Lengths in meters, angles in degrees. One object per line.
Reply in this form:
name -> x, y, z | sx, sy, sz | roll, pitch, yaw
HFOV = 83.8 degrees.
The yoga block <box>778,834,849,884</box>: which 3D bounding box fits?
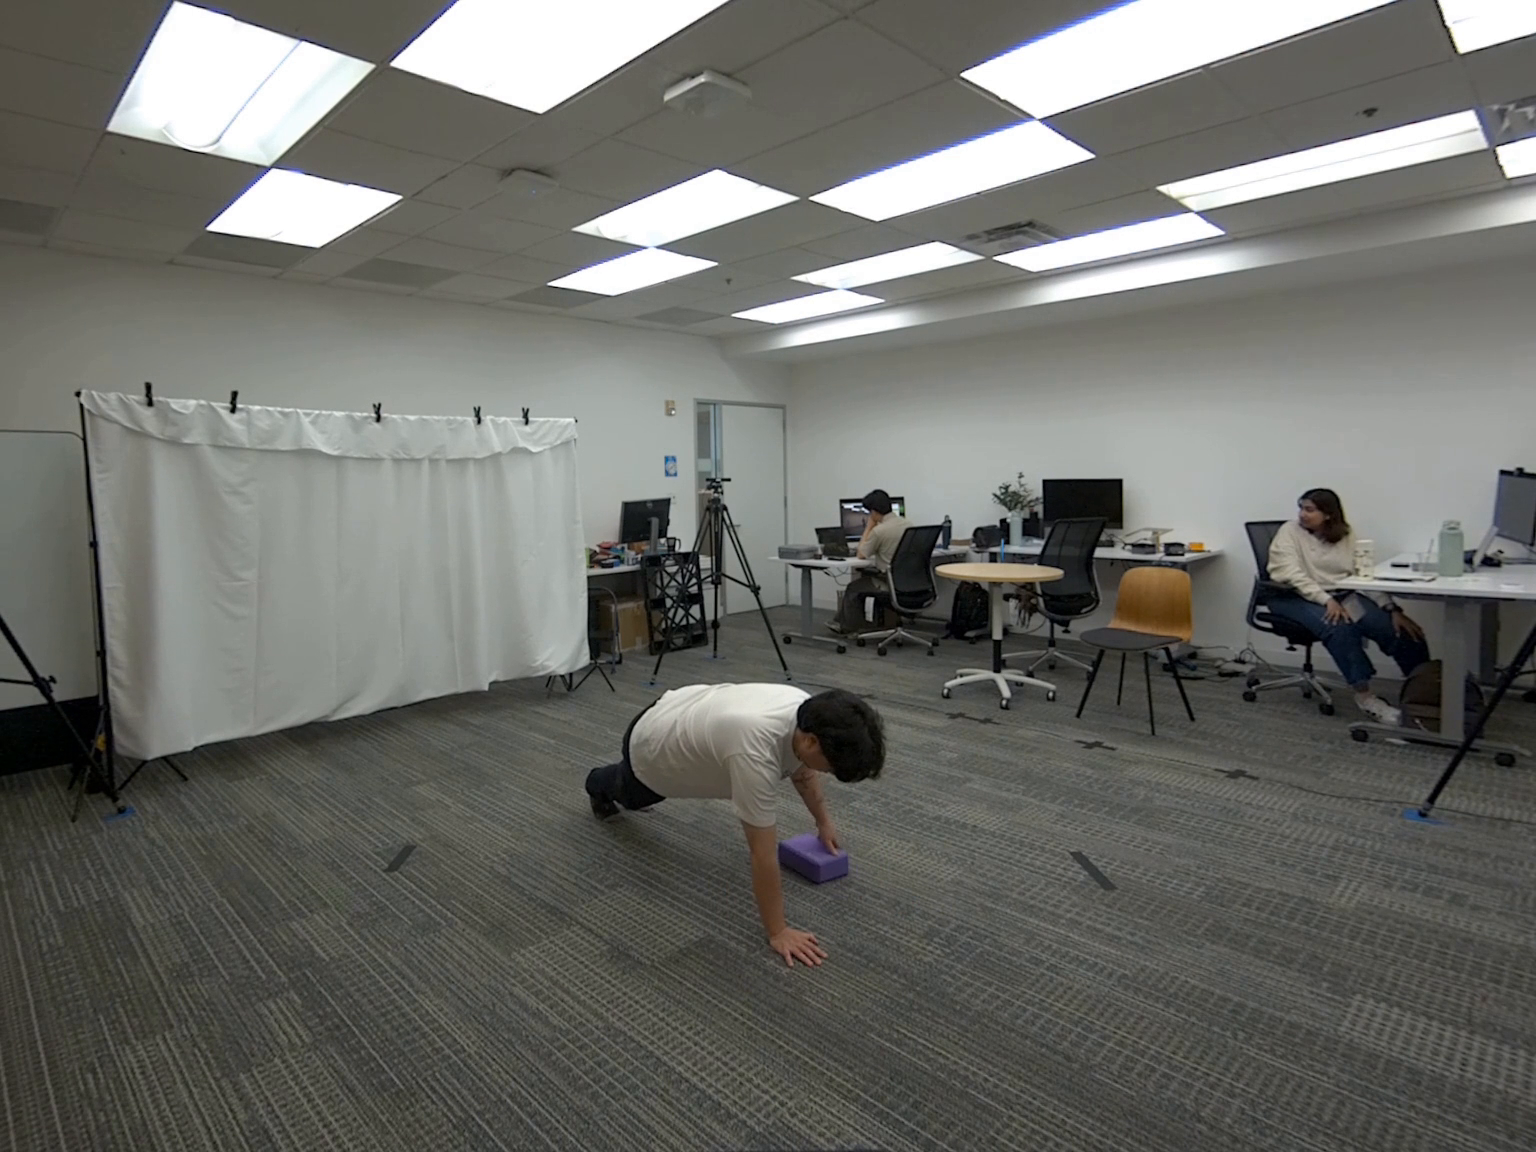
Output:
yoga block -> 0.160, 1.002, 3.051 | 0.145, 0.076, 0.236 | -4, 7, -35
